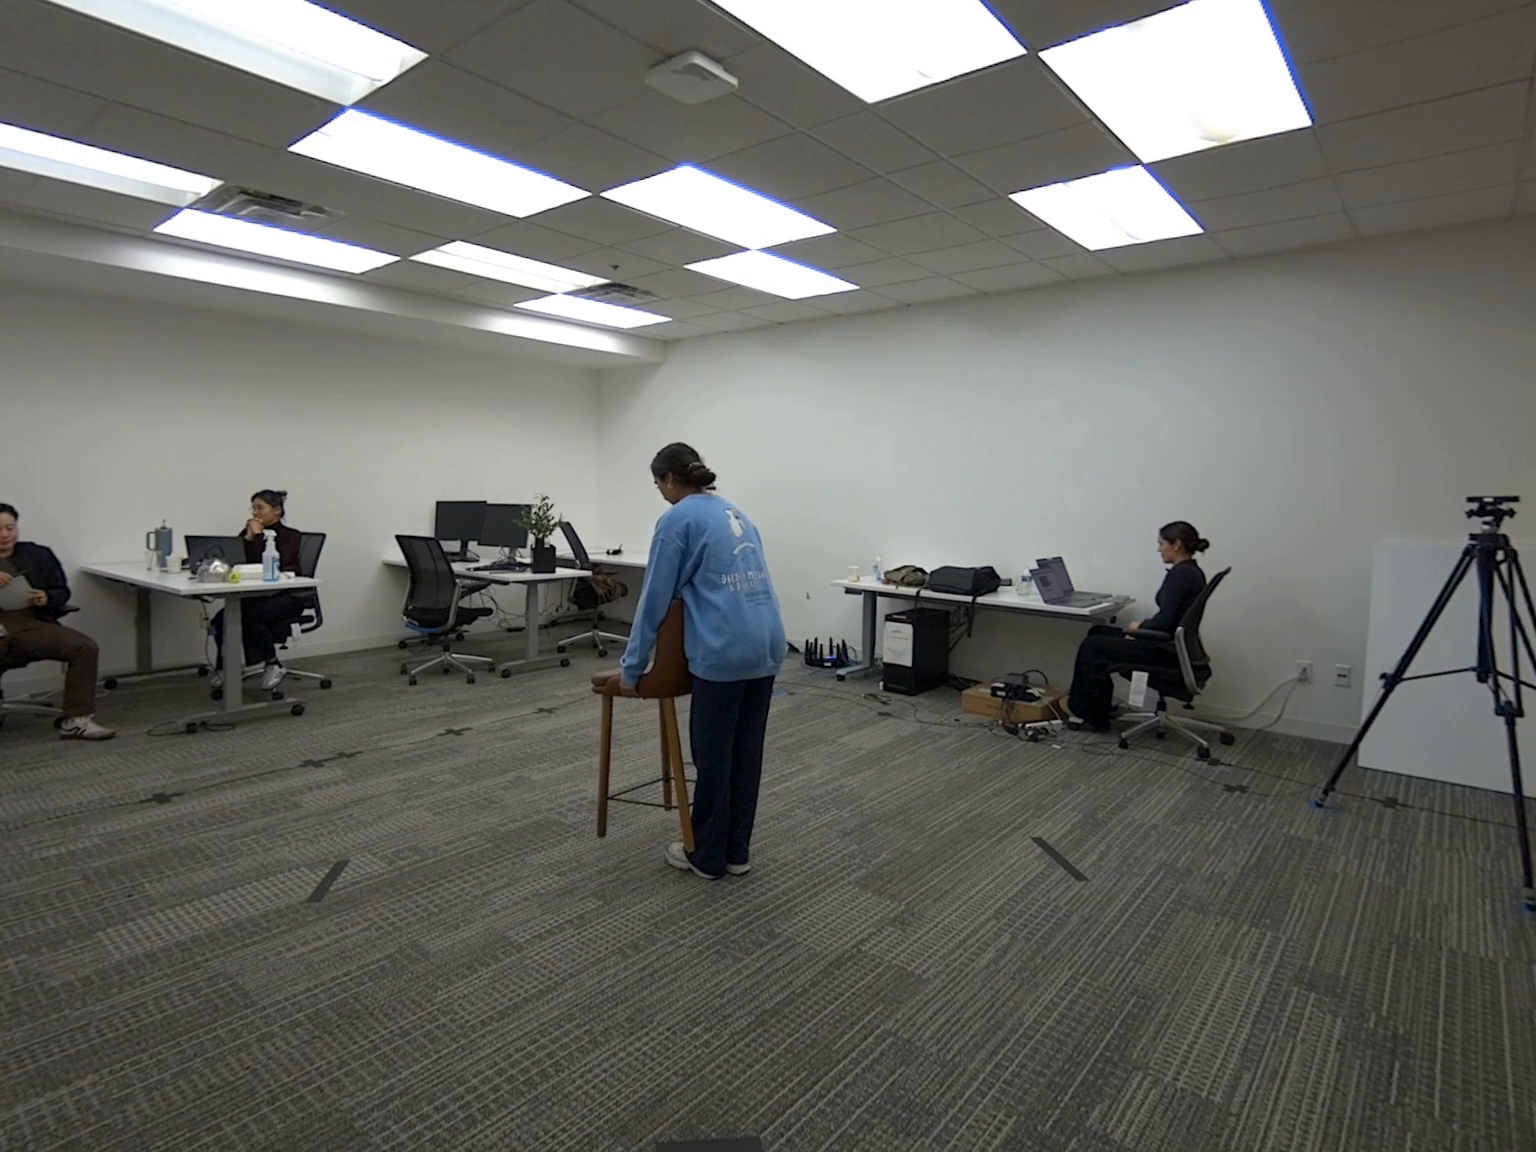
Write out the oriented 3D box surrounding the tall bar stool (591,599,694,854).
[{"bbox_3d":[-0.398,0.525,3.232,0.481,0.891,0.443,-4,-1,37],"label":"tall bar stool"}]
